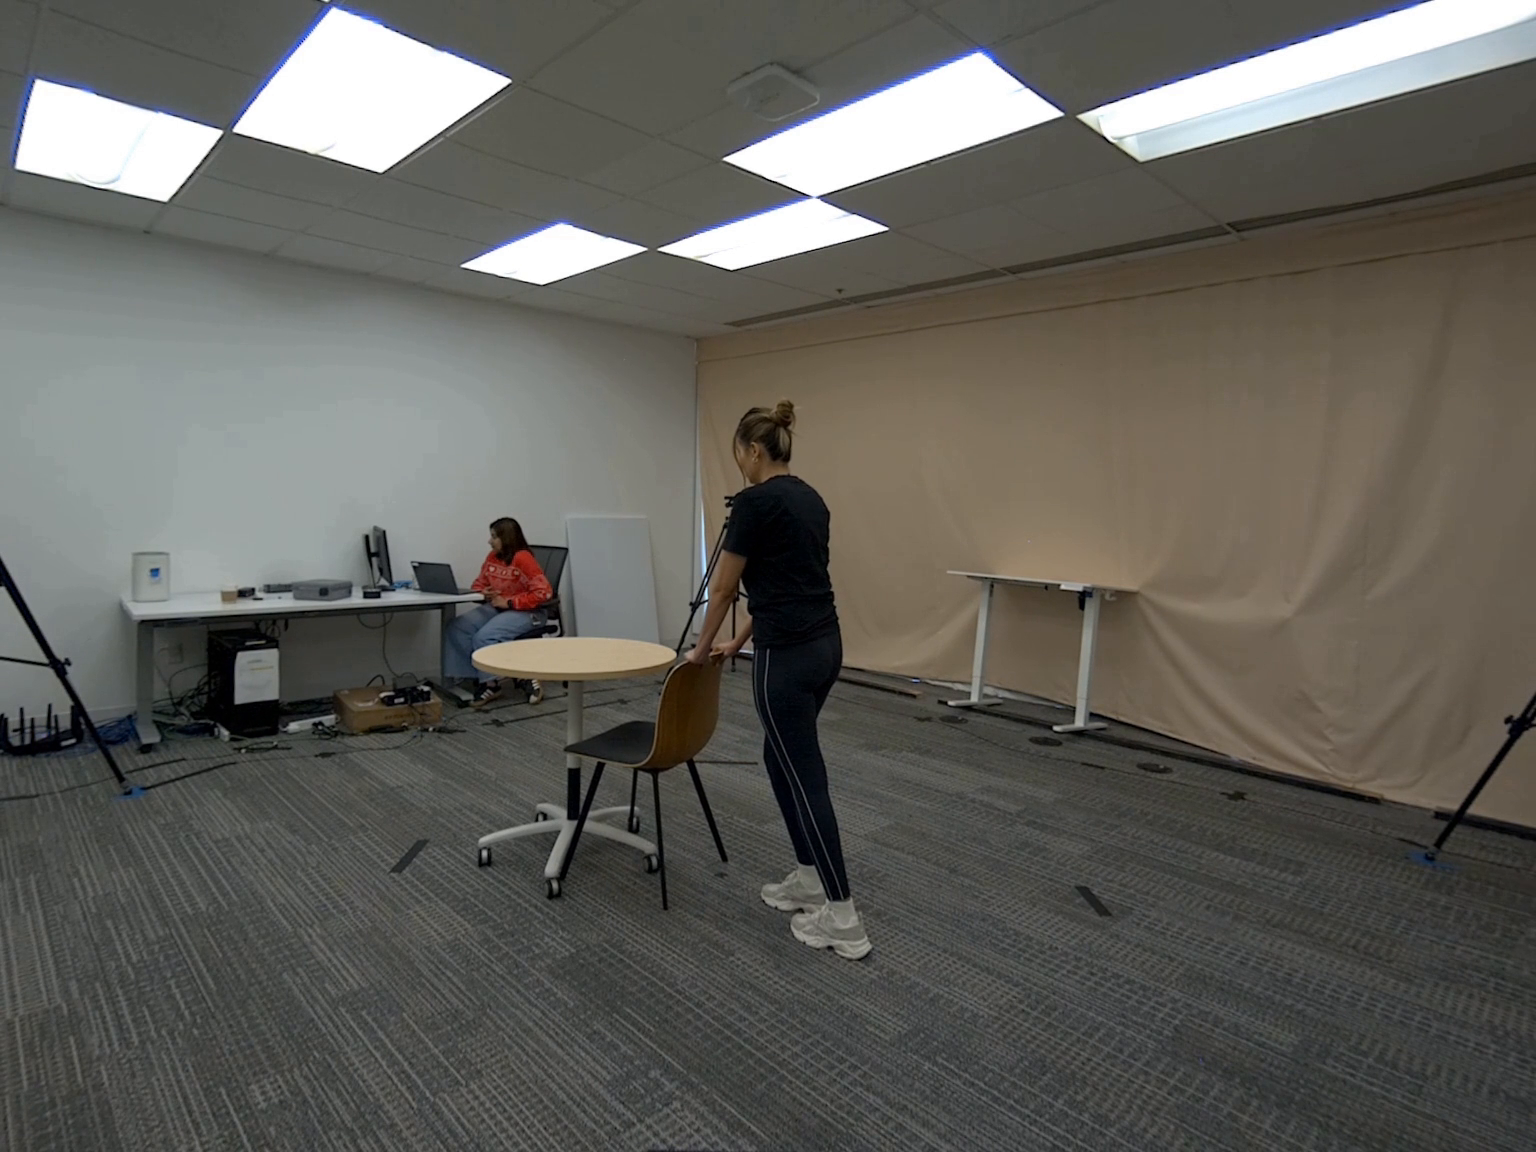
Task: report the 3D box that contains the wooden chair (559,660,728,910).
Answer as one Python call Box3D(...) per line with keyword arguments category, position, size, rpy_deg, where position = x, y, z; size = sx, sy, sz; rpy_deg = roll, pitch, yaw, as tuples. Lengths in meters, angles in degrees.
Box3D(category="wooden chair", position=(-0.449, 0.669, 3.094), size=(0.534, 0.874, 0.470), rpy_deg=(8, 7, 26))
